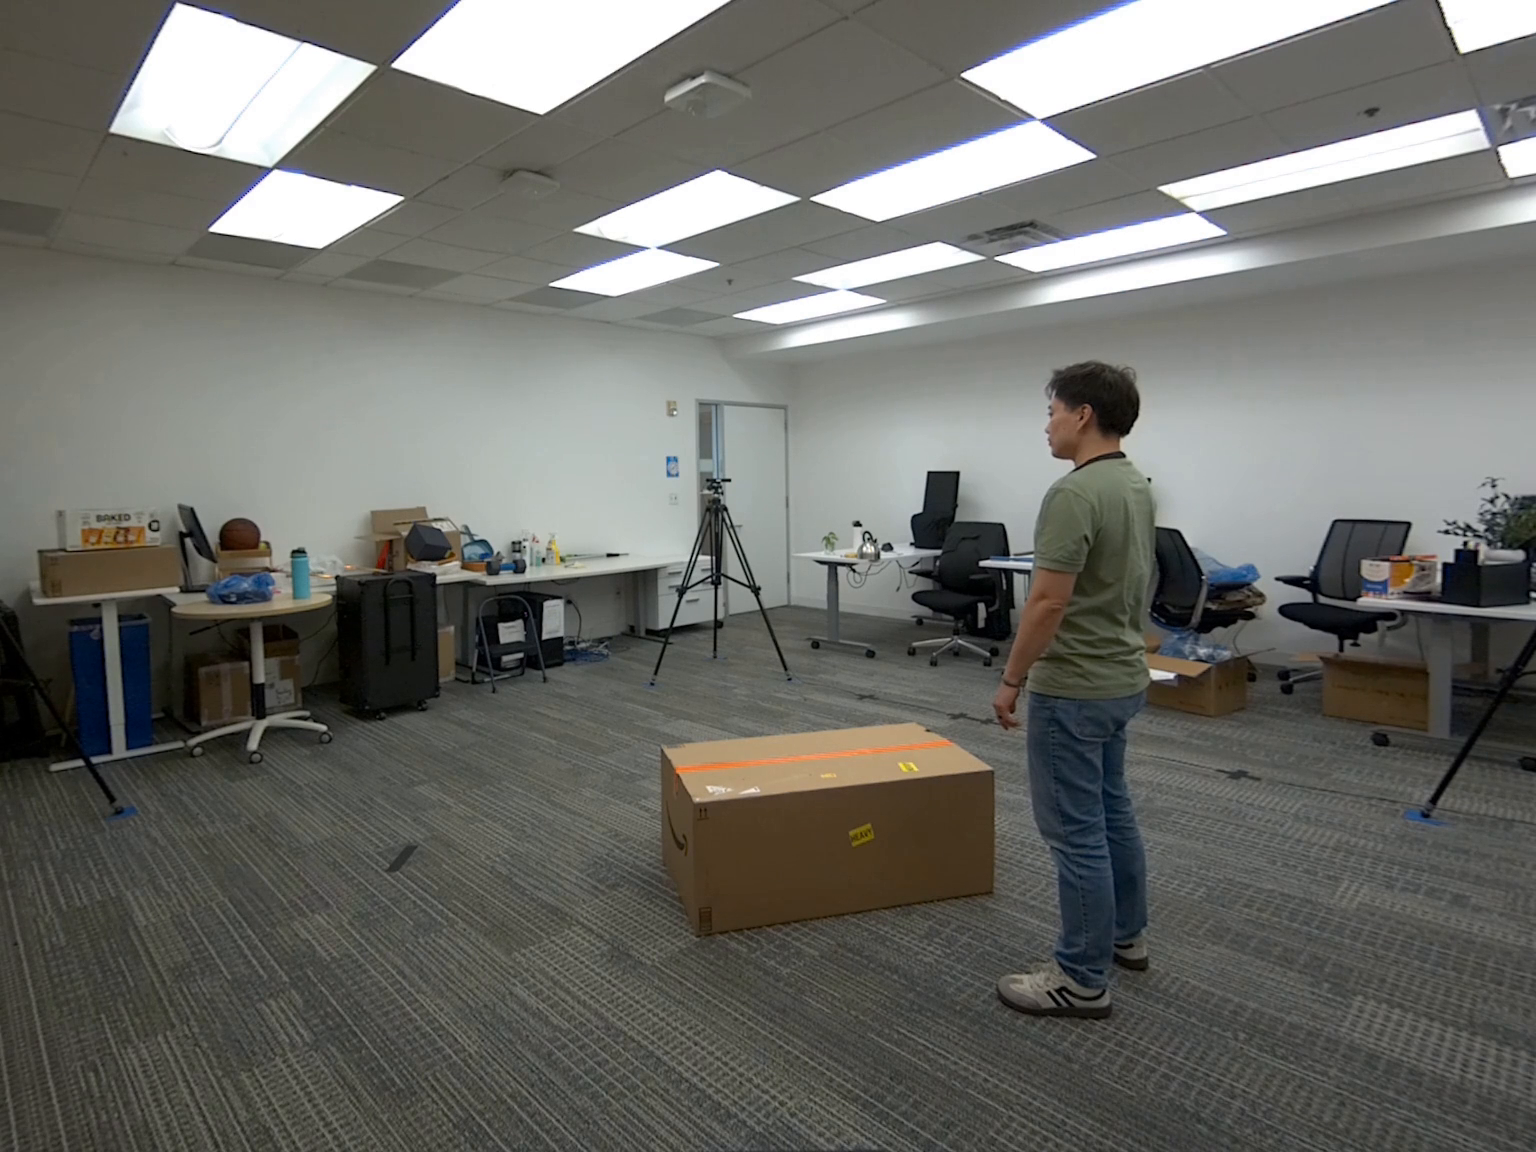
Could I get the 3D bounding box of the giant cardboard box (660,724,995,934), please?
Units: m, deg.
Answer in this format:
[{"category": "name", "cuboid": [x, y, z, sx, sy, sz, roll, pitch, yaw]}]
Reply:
[{"category": "giant cardboard box", "cuboid": [0.180, 0.835, 2.995, 1.012, 0.424, 0.588, -2, 7, -15]}]
